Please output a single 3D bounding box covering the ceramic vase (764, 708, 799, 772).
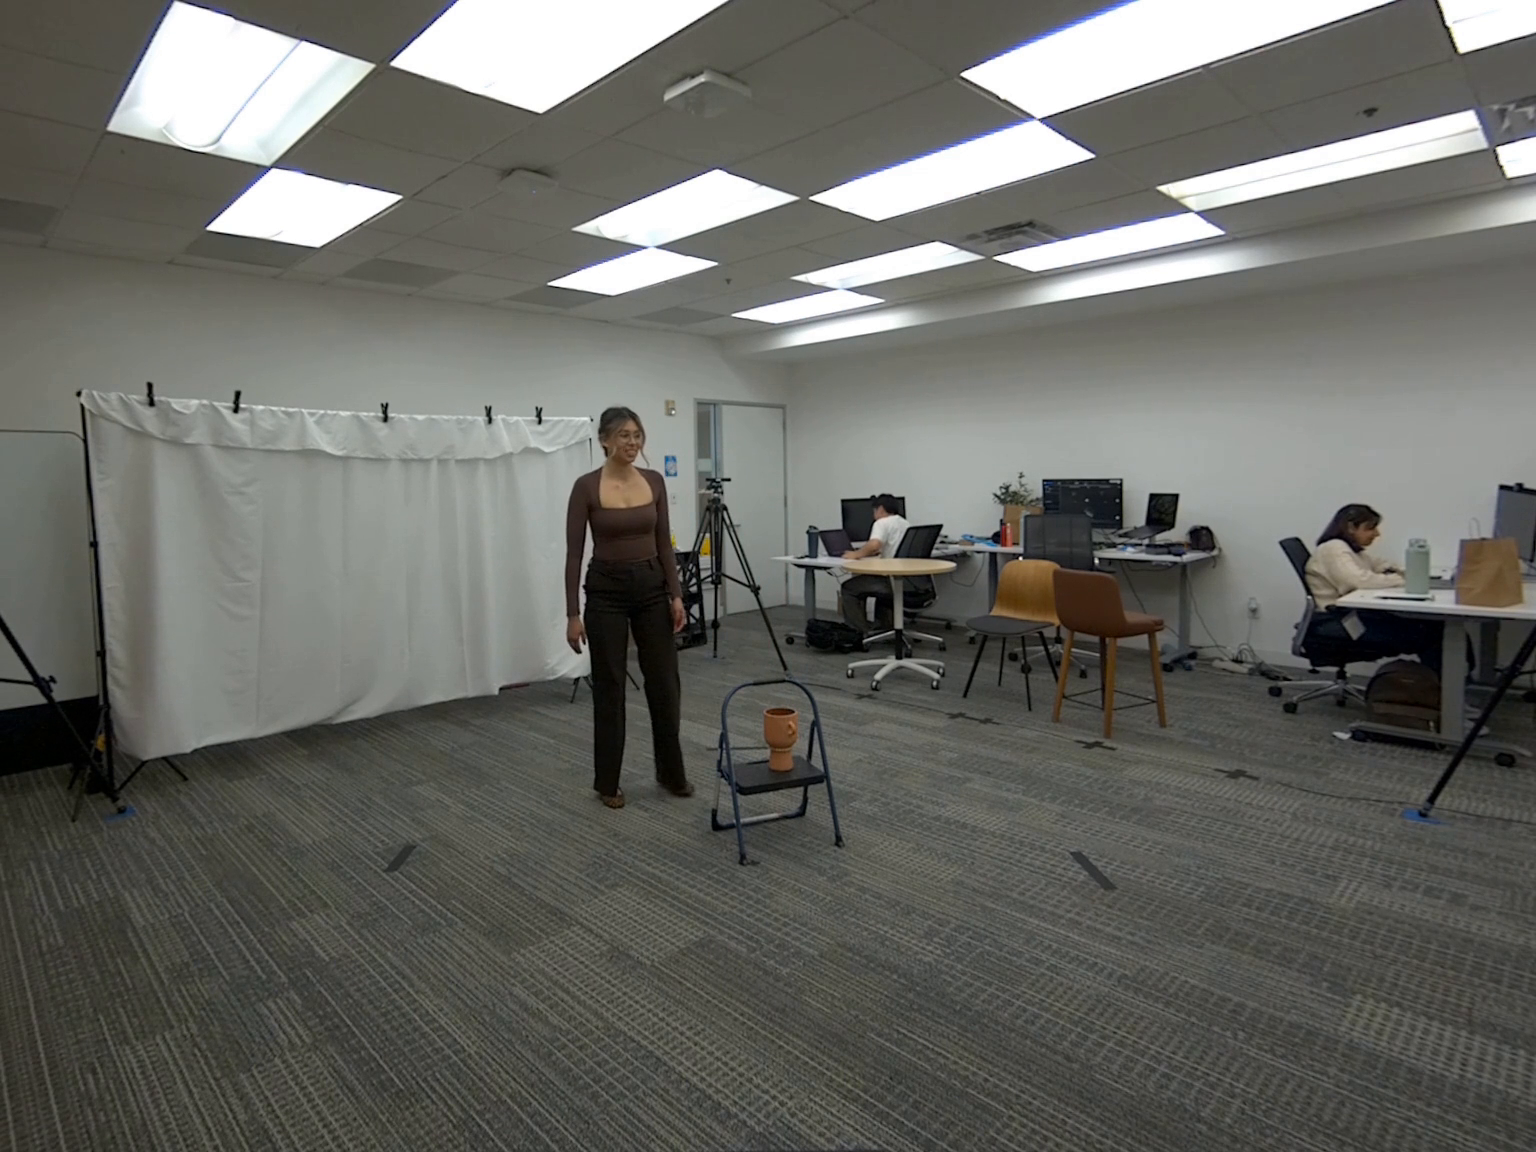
[{"bbox_3d":[0.054,0.638,3.348,0.136,0.219,0.158,1,6,7],"label":"ceramic vase"}]
